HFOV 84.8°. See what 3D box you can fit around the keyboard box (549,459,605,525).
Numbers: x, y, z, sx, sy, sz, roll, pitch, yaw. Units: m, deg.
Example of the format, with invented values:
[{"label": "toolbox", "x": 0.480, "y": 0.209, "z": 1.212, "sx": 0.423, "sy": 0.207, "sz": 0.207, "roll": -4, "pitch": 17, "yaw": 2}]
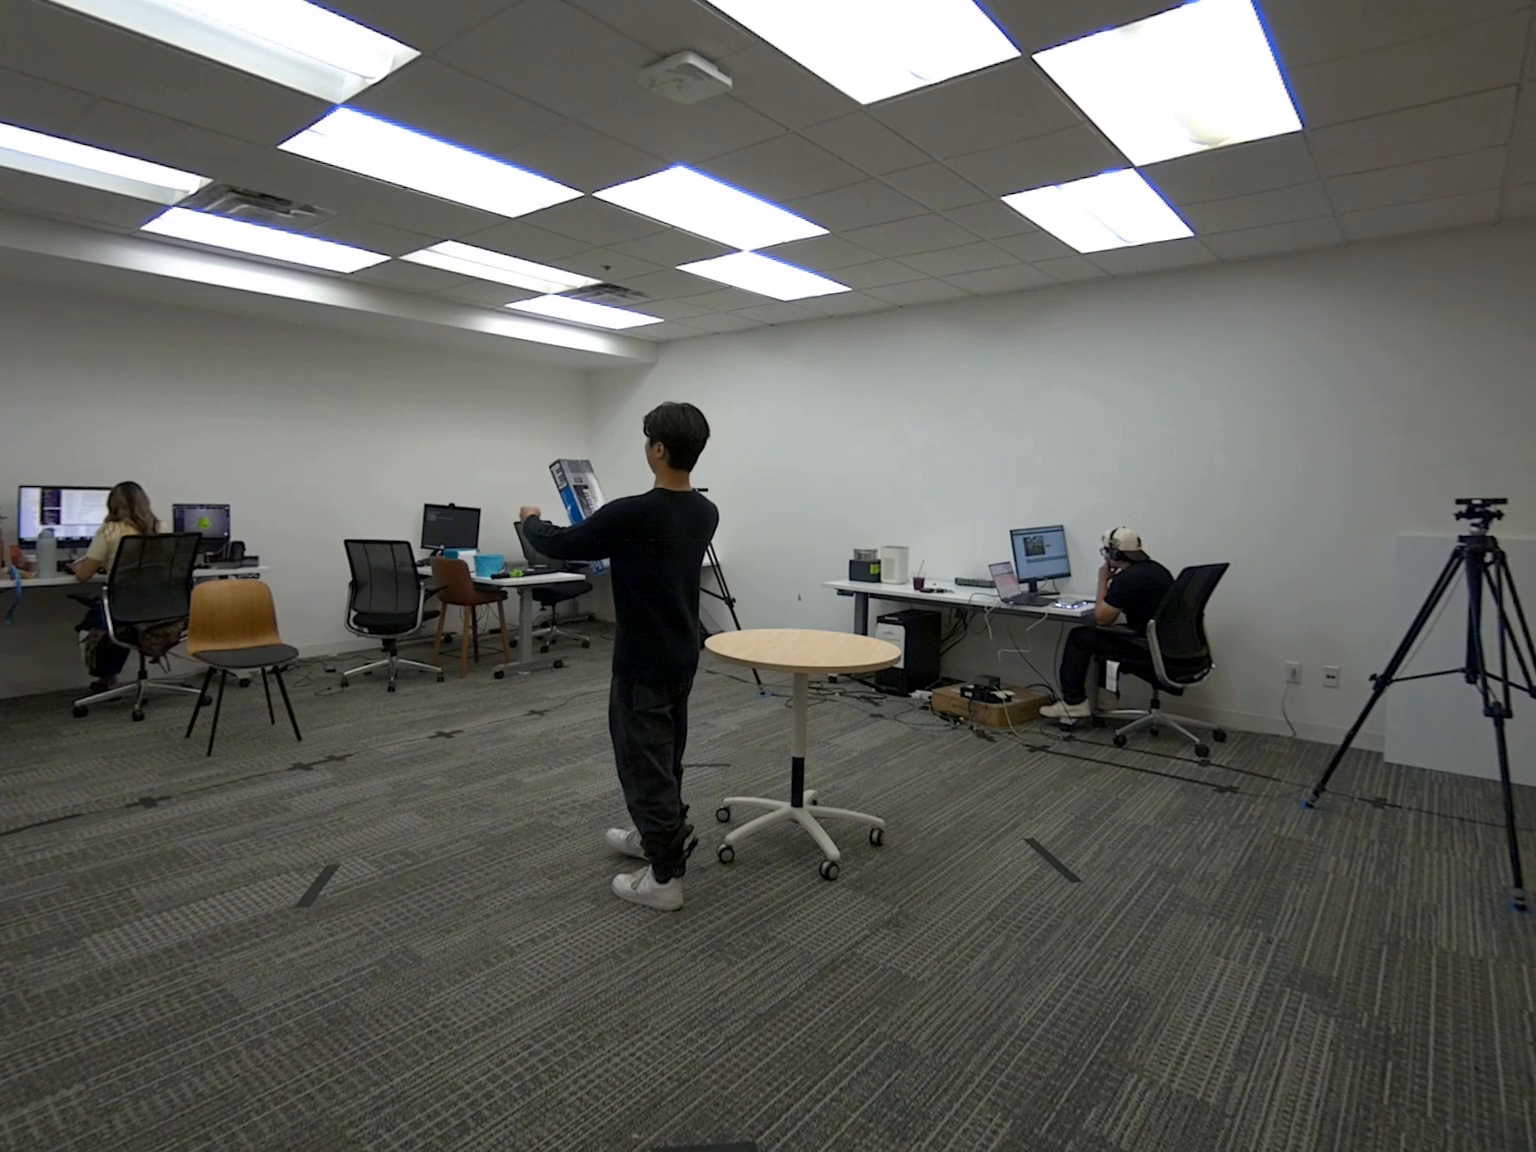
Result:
[{"label": "keyboard box", "x": -0.663, "y": -0.225, "z": 3.121, "sx": 0.060, "sy": 0.442, "sz": 0.171, "roll": -28, "pitch": -11, "yaw": 29}]
